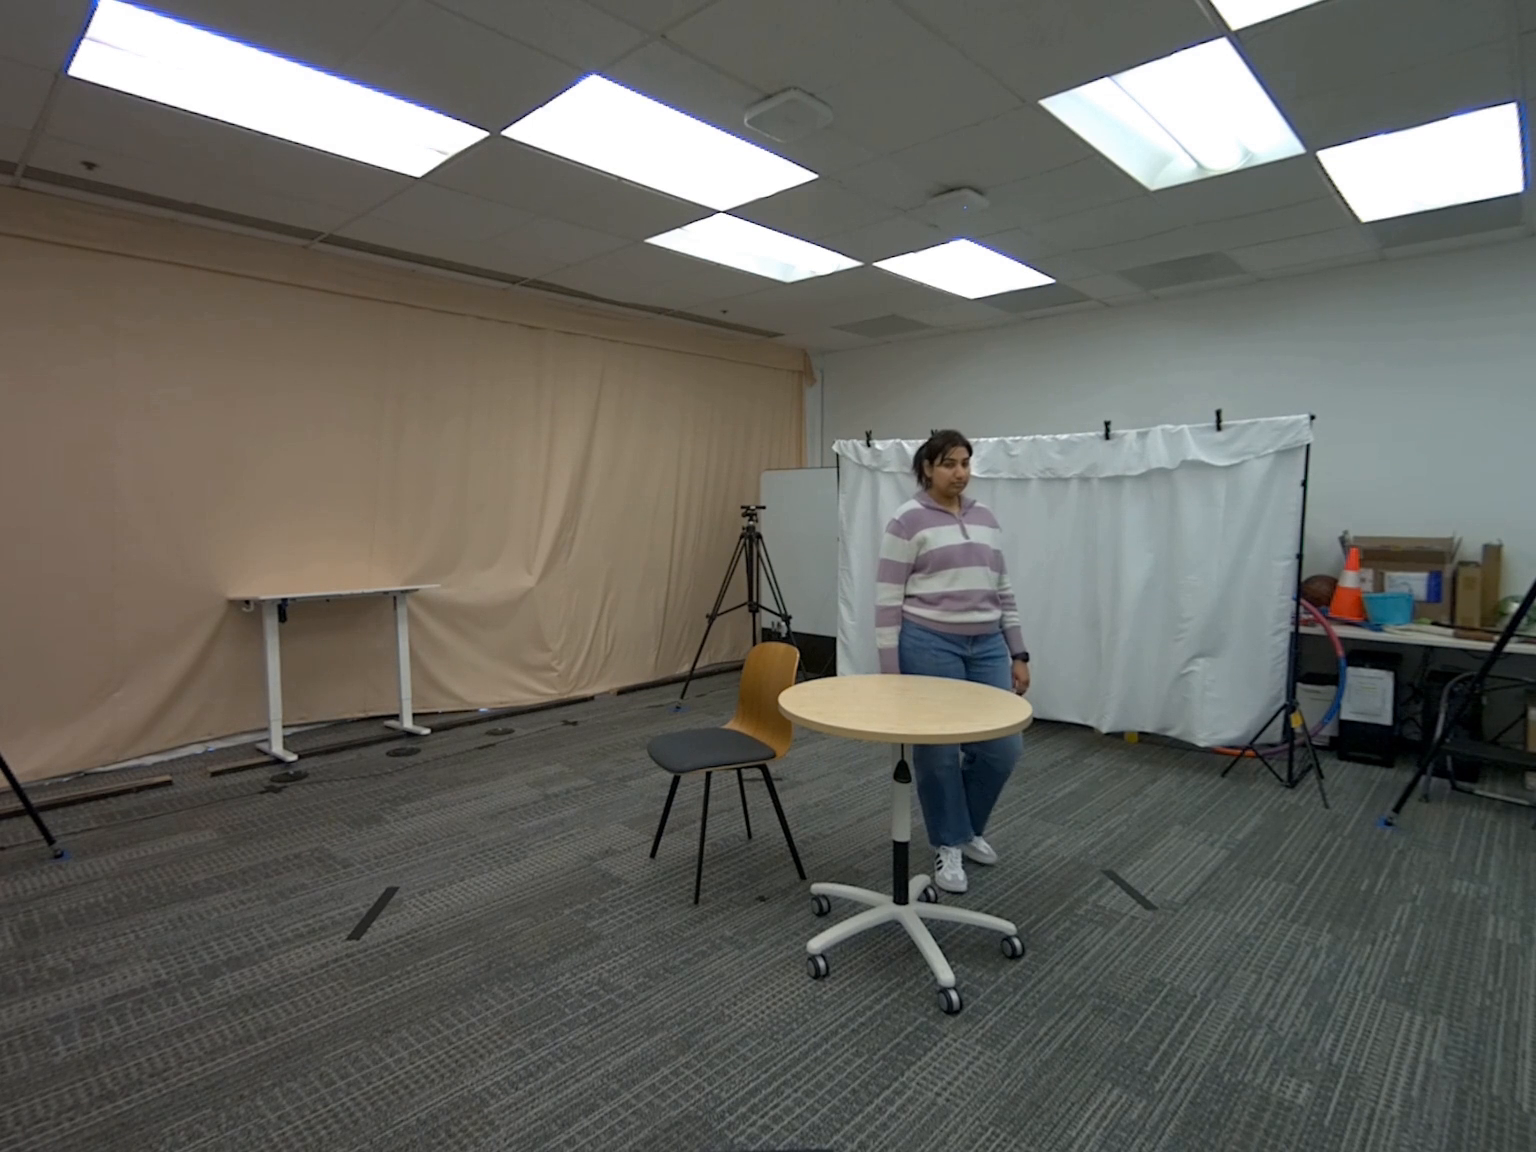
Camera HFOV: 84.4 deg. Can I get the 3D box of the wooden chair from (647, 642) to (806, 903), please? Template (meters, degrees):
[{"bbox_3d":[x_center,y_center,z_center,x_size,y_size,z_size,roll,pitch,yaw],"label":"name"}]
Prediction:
[{"bbox_3d":[-0.172,0.701,3.206,0.509,0.876,0.491,3,2,-27],"label":"wooden chair"}]
